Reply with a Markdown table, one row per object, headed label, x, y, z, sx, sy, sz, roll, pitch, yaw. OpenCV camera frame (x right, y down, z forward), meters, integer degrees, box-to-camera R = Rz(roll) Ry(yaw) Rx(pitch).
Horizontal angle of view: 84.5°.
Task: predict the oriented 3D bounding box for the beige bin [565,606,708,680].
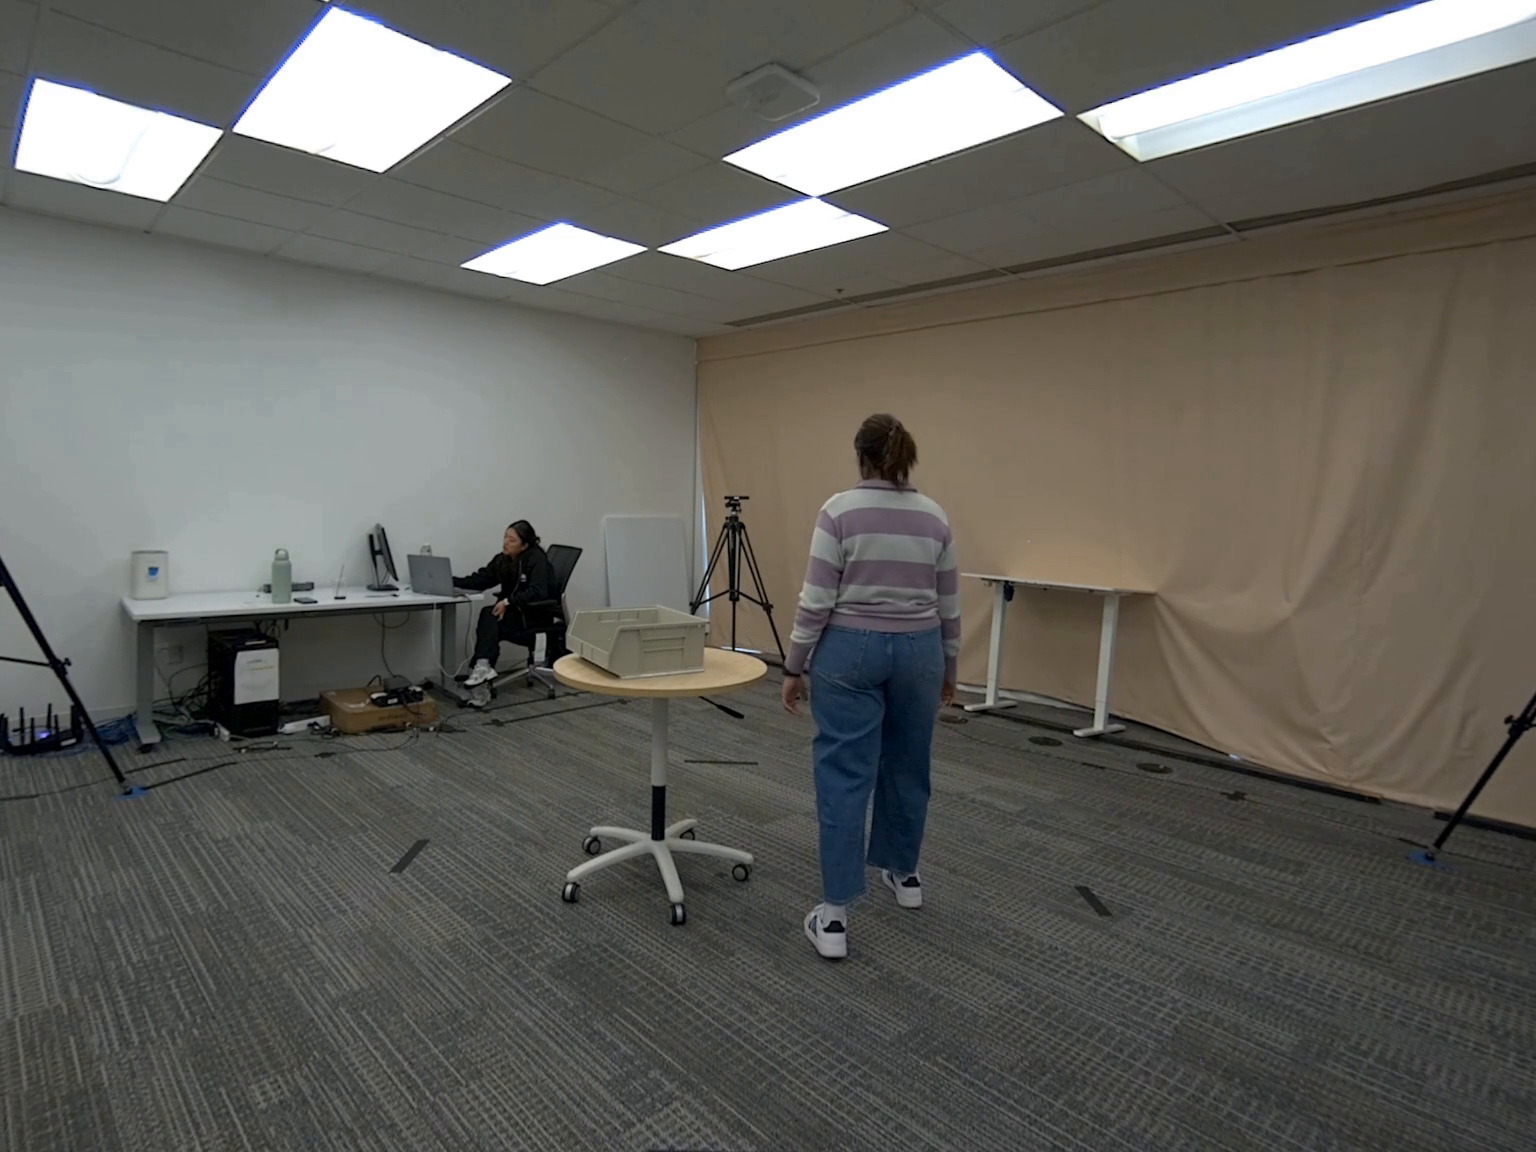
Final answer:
| label | x | y | z | sx | sy | sz | roll | pitch | yaw |
| --- | --- | --- | --- | --- | --- | --- | --- | --- | --- |
| beige bin | -0.498 | 0.233 | 3.034 | 0.370 | 0.188 | 0.431 | 1 | 5 | -26 |
